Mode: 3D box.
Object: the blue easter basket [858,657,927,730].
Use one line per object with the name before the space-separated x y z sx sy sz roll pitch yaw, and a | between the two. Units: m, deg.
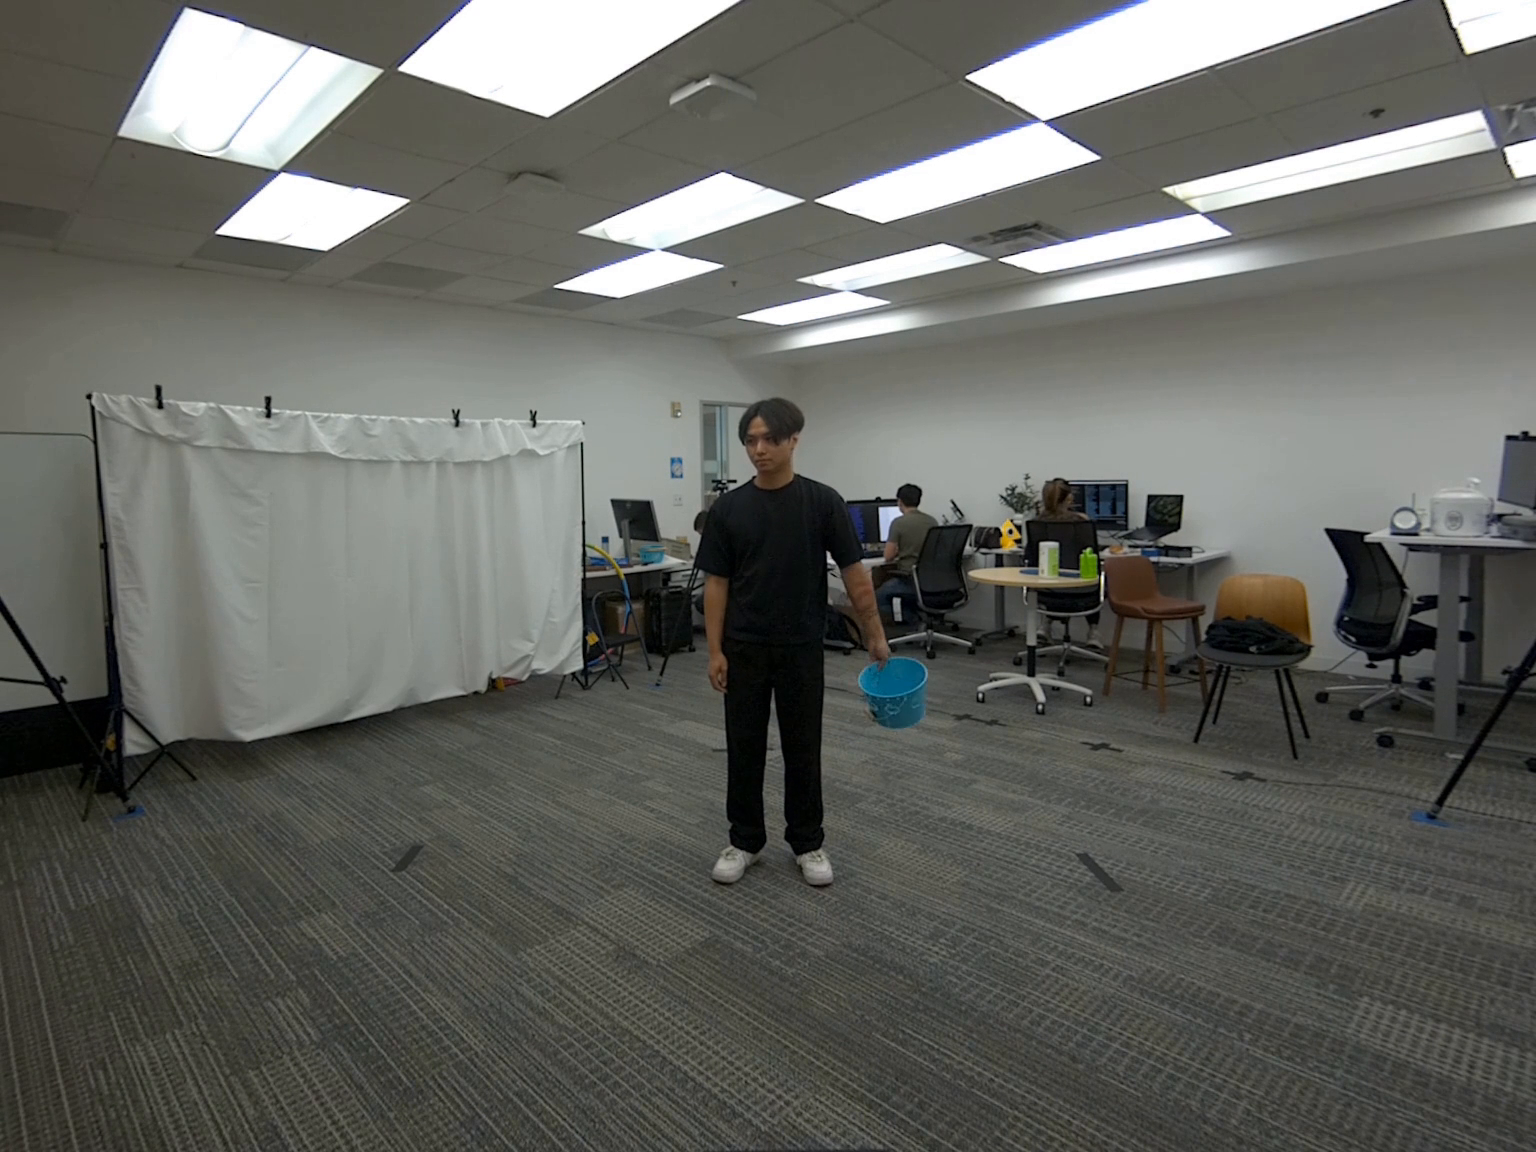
blue easter basket | 0.426 0.403 2.932 0.244 0.152 0.249 -12 24 4
